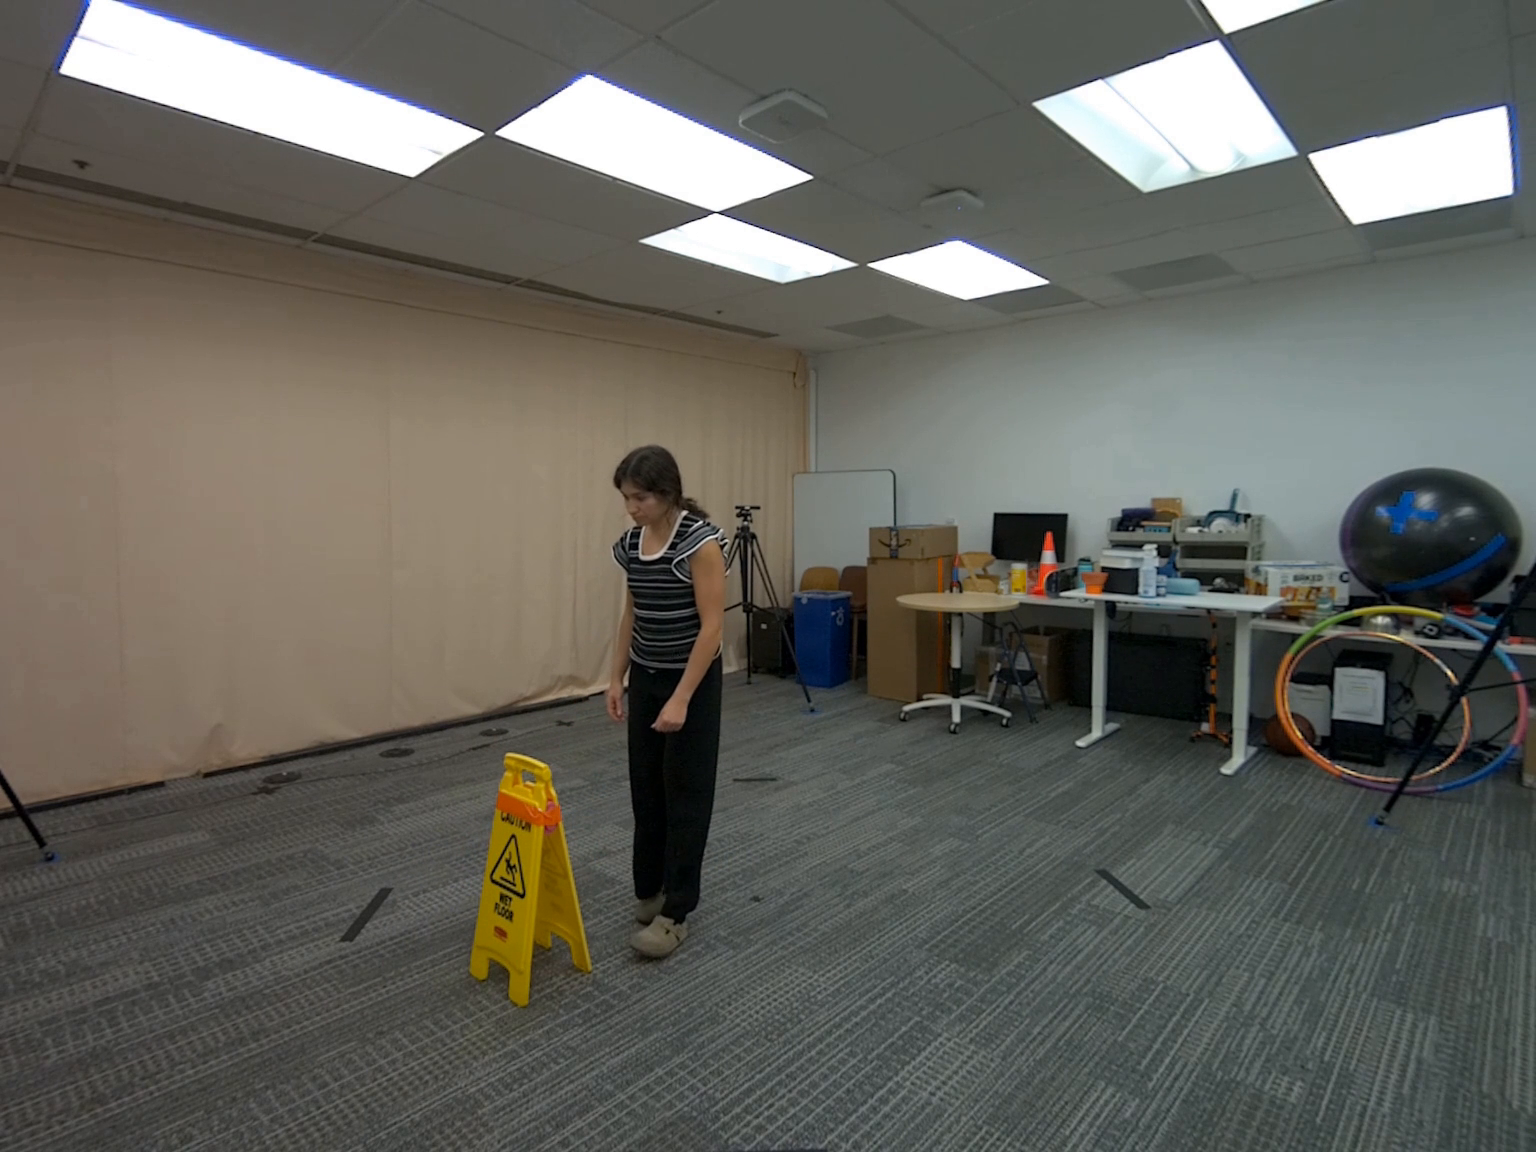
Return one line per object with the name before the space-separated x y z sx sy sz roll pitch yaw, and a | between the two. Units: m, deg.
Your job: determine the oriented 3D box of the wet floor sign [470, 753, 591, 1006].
wet floor sign | -0.714 0.866 2.503 0.291 0.645 0.281 1 4 41
